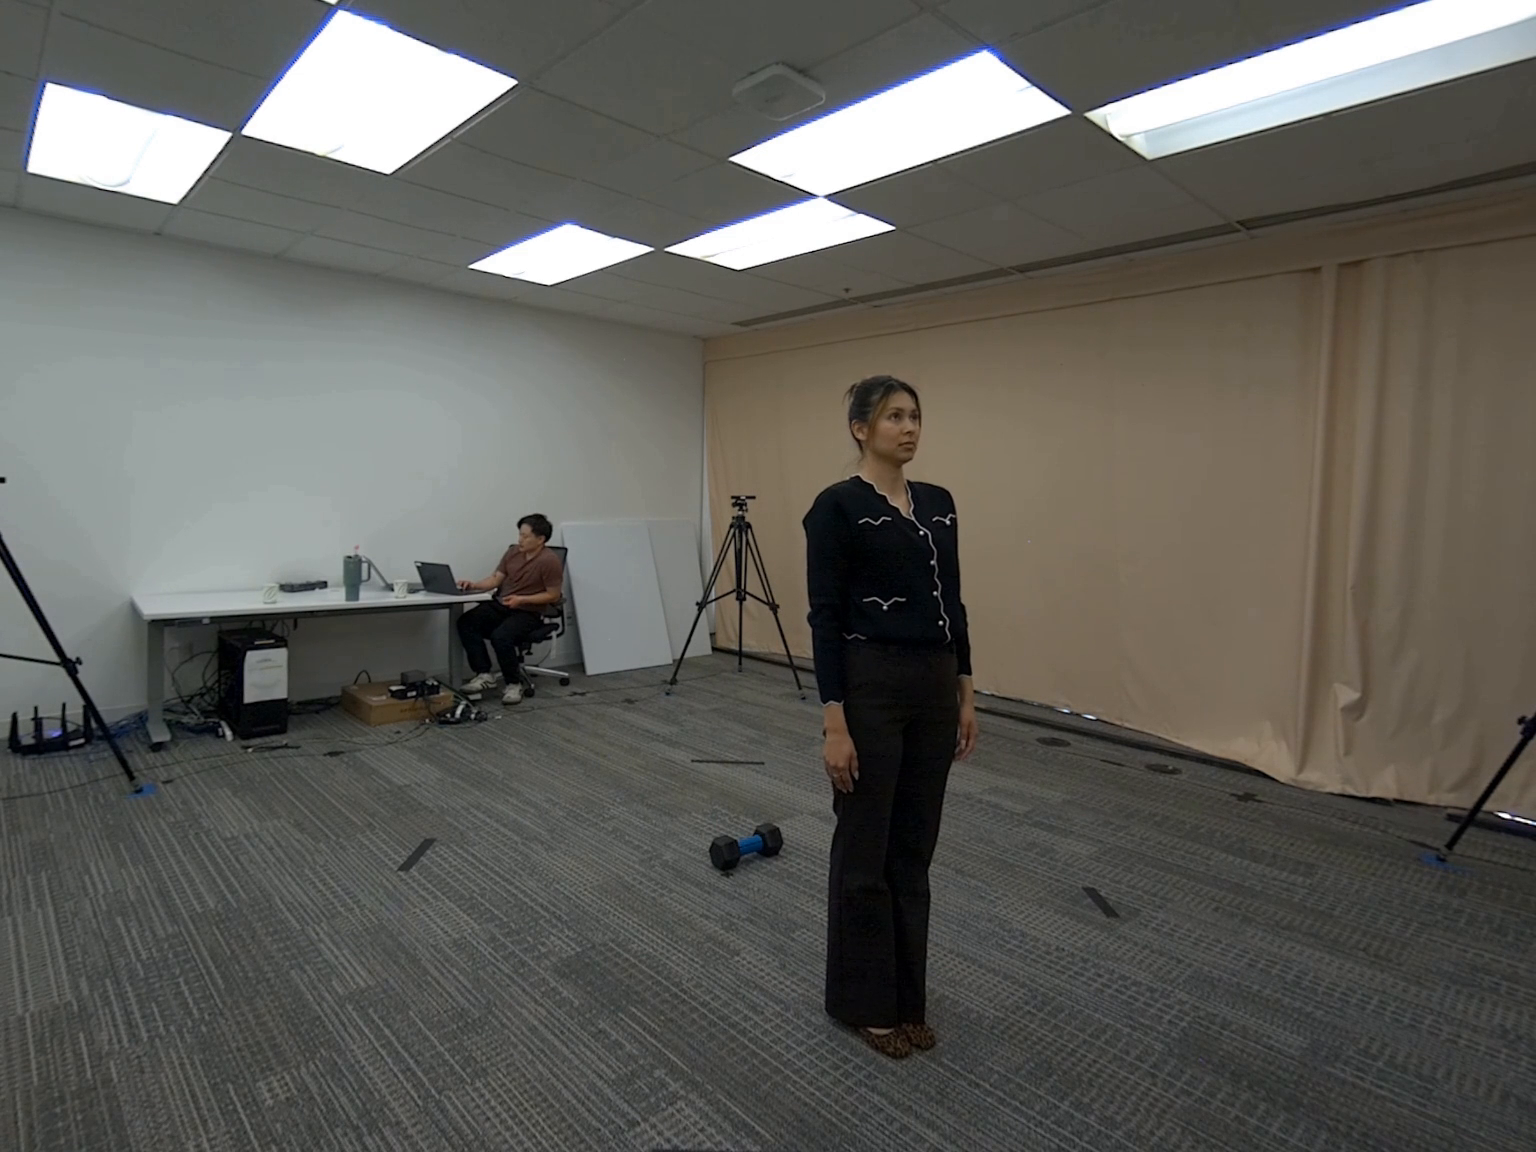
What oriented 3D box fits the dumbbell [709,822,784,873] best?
[{"bbox_3d":[-0.088,1.038,3.229,0.287,0.108,0.126,-4,7,-40],"label":"dumbbell"}]
